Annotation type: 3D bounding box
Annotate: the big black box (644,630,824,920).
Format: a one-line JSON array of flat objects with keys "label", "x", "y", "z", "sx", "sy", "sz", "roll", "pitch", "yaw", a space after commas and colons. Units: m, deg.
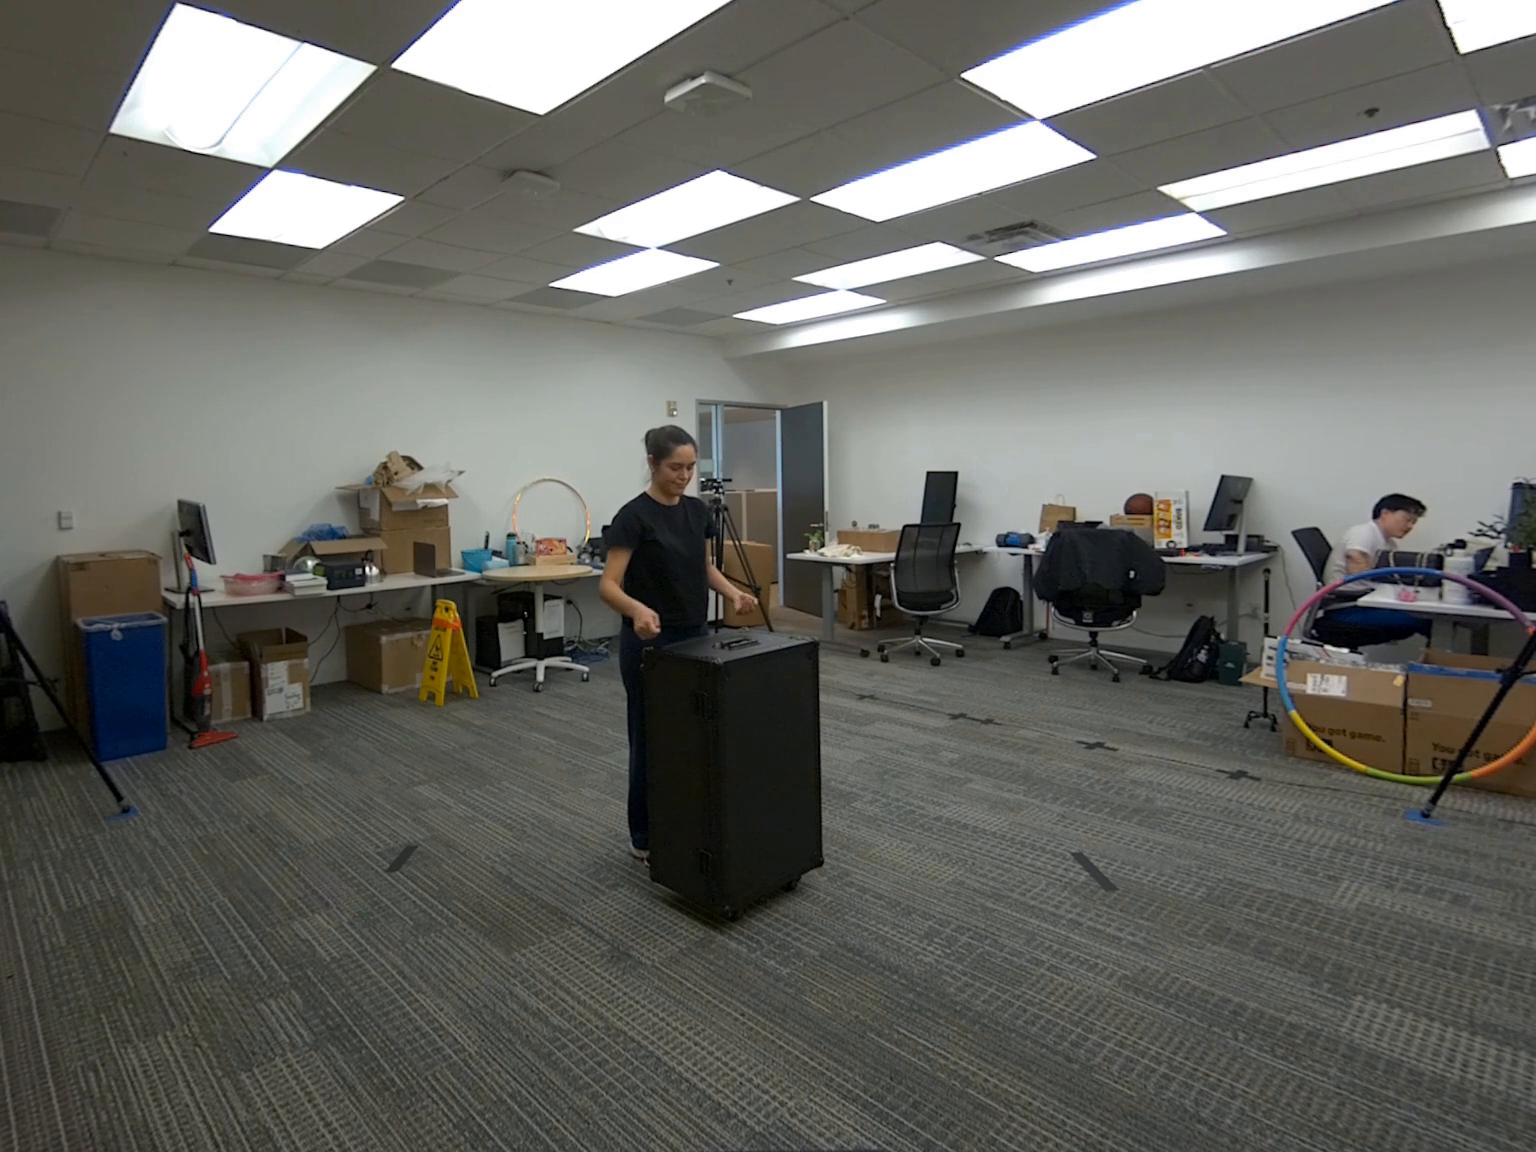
[{"label": "big black box", "x": -0.119, "y": 0.646, "z": 2.877, "sx": 0.408, "sy": 0.859, "sz": 0.507, "roll": 1, "pitch": 5, "yaw": 44}]
